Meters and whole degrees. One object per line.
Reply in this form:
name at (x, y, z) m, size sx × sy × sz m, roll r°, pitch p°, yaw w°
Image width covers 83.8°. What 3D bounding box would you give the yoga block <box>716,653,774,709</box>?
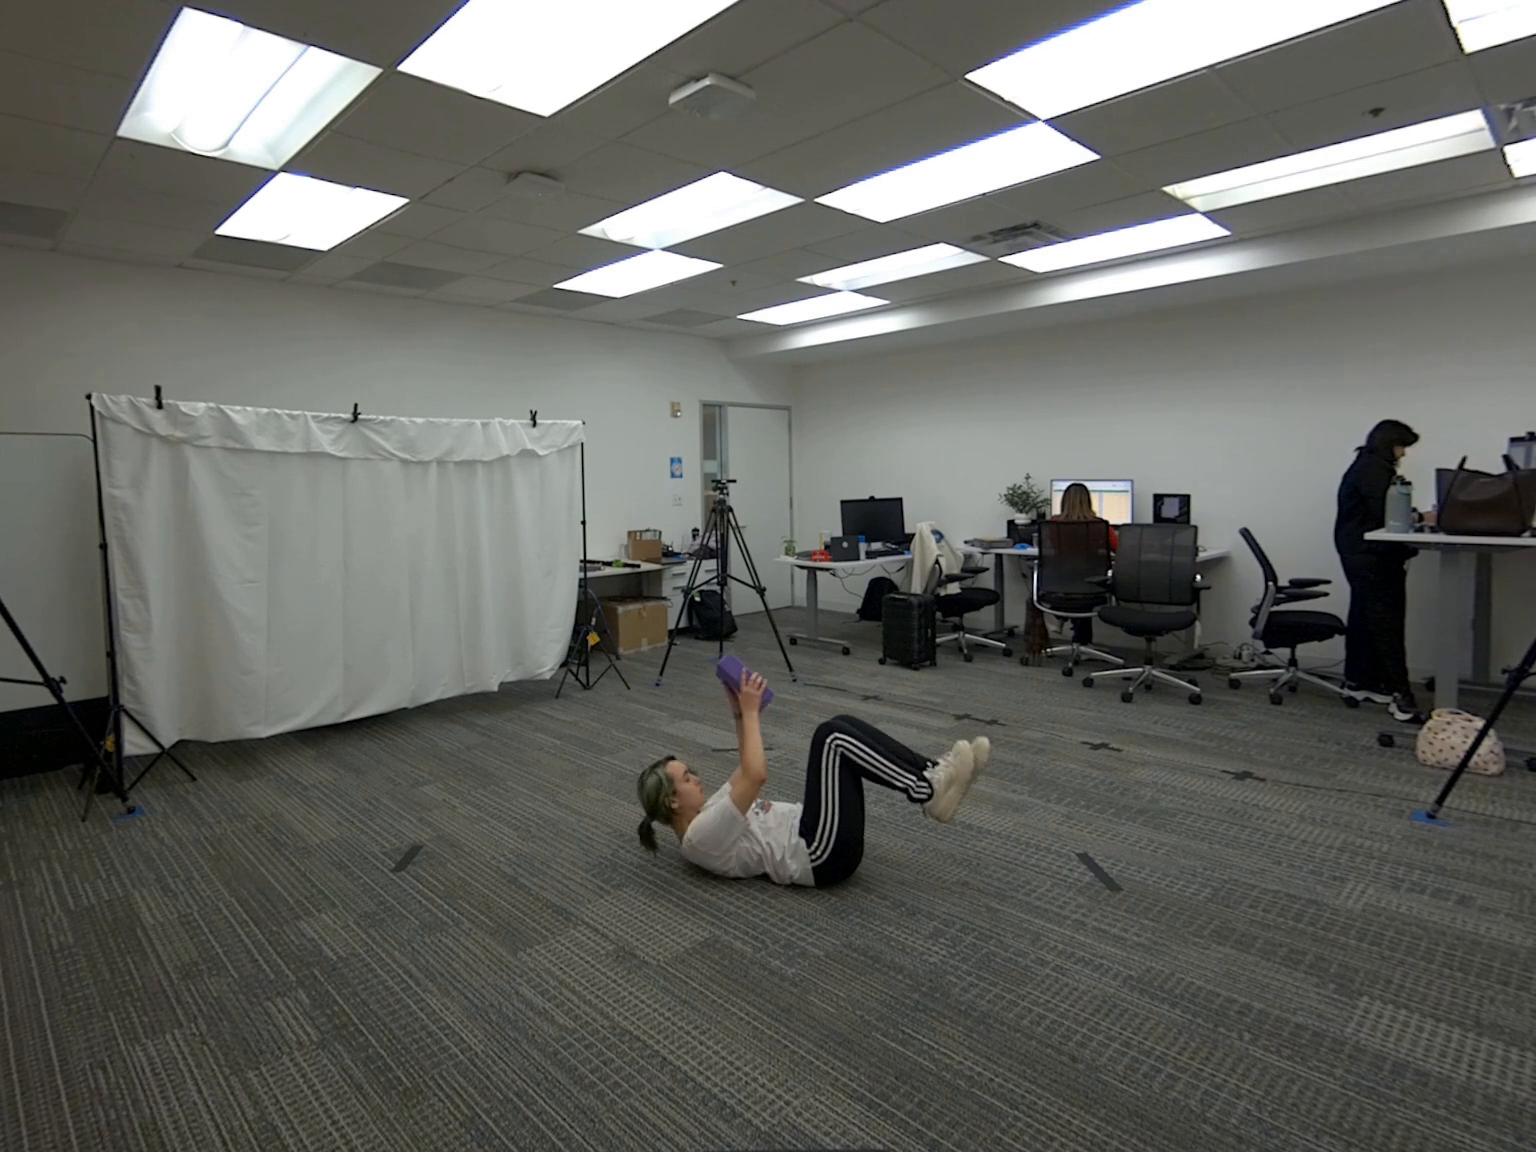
yoga block at (-0.076, 0.413, 3.221) m, size 0.076 × 0.234 × 0.146 m, roll -40°, pitch -14°, yaw -14°
